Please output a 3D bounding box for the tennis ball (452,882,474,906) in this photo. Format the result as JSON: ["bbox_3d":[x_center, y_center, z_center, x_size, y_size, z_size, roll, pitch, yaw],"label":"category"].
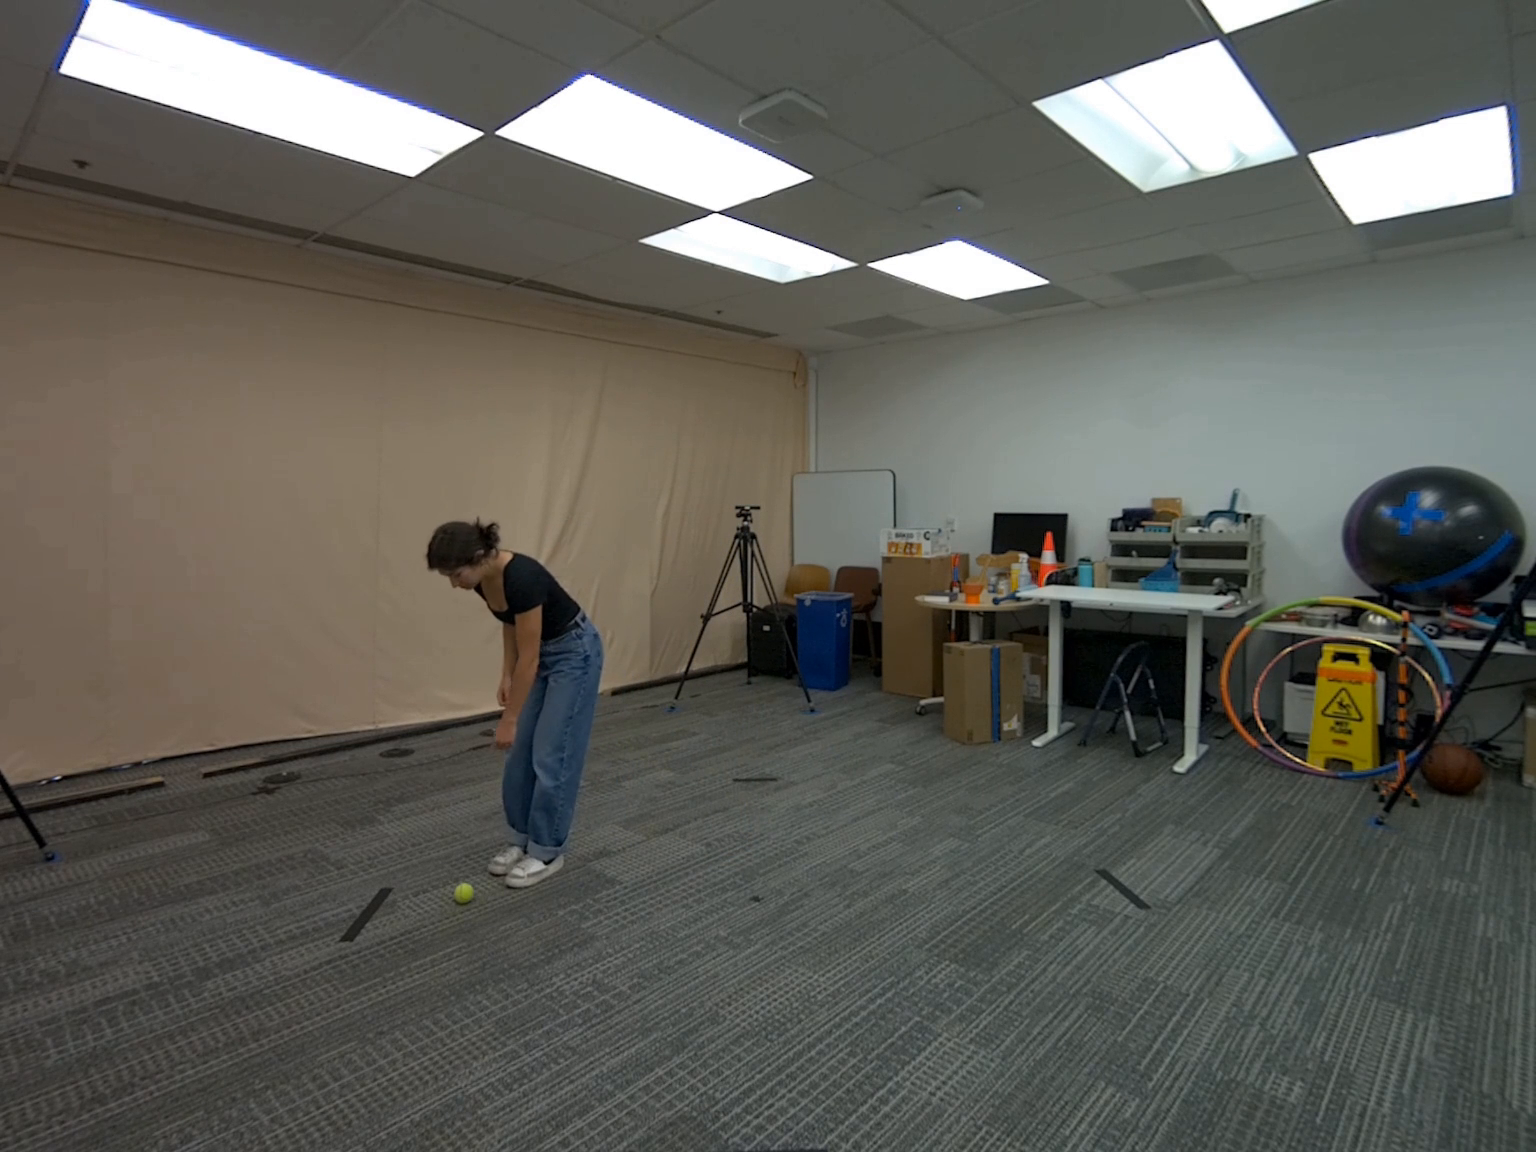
[{"bbox_3d":[-1.081,1.112,2.990,0.066,0.066,0.067,0,4,-2],"label":"tennis ball"}]
